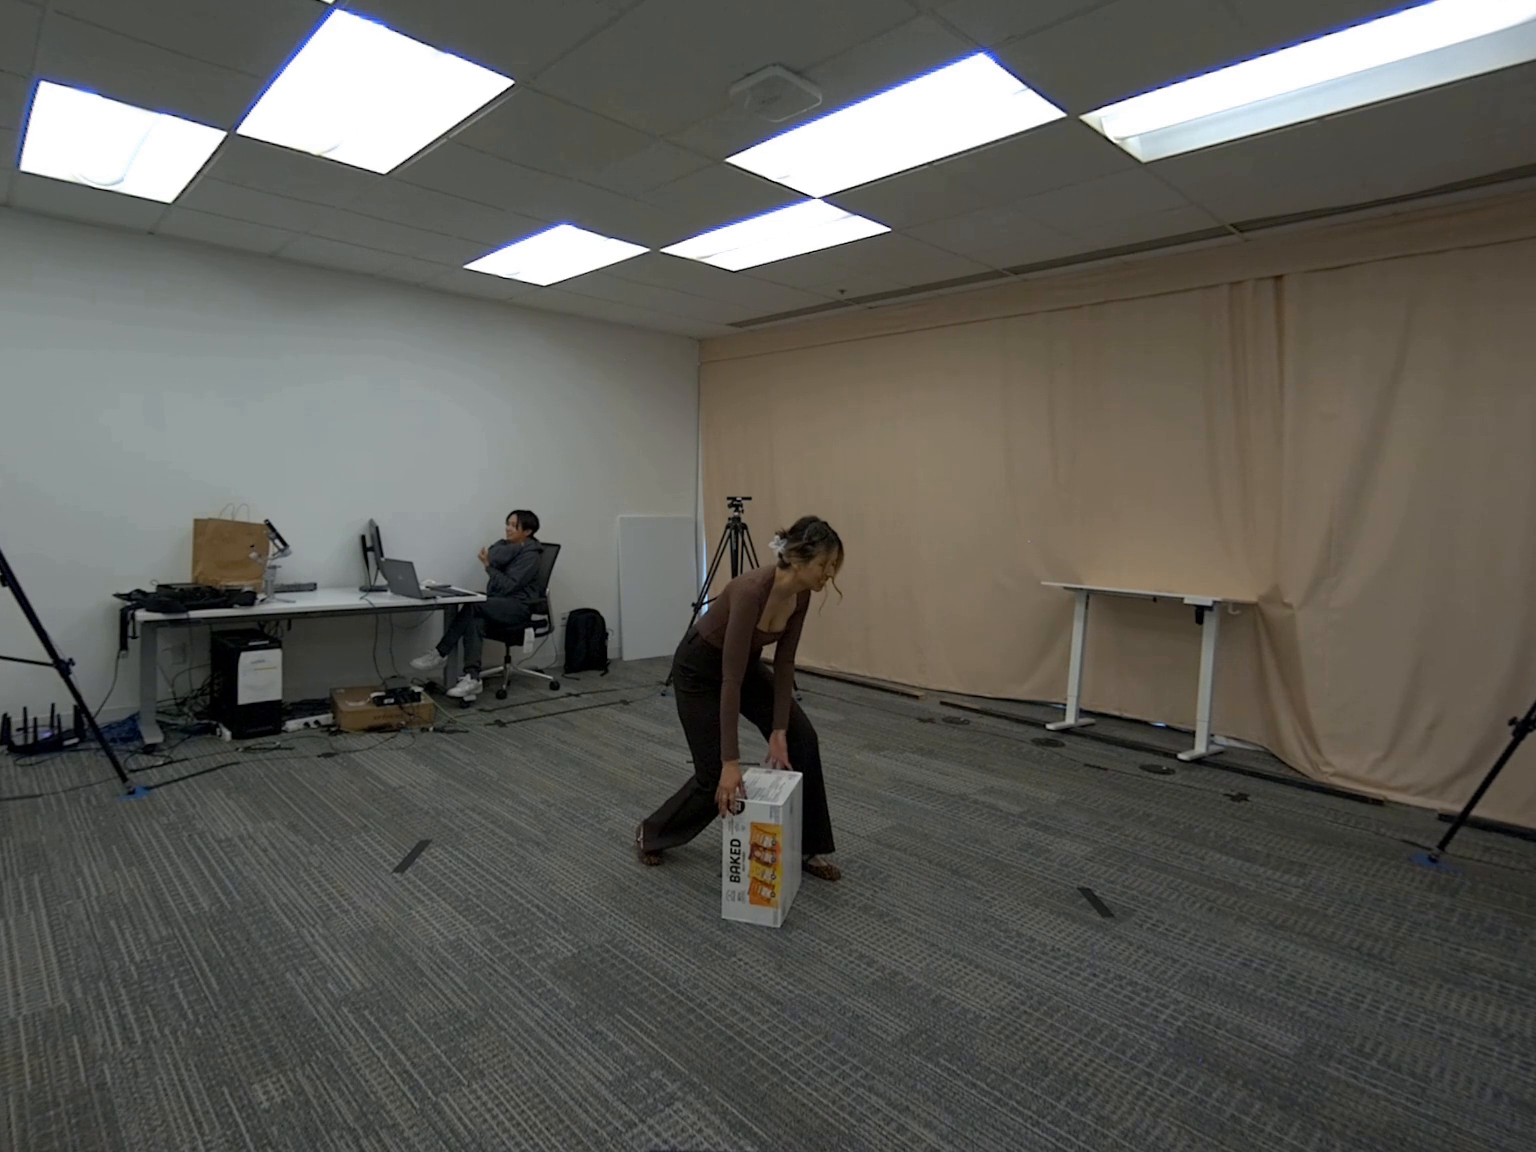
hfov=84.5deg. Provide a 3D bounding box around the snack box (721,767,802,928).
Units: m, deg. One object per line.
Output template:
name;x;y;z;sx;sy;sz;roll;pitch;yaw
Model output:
snack box;-0.017;0.922;2.907;0.208;0.404;0.337;2;3;14
